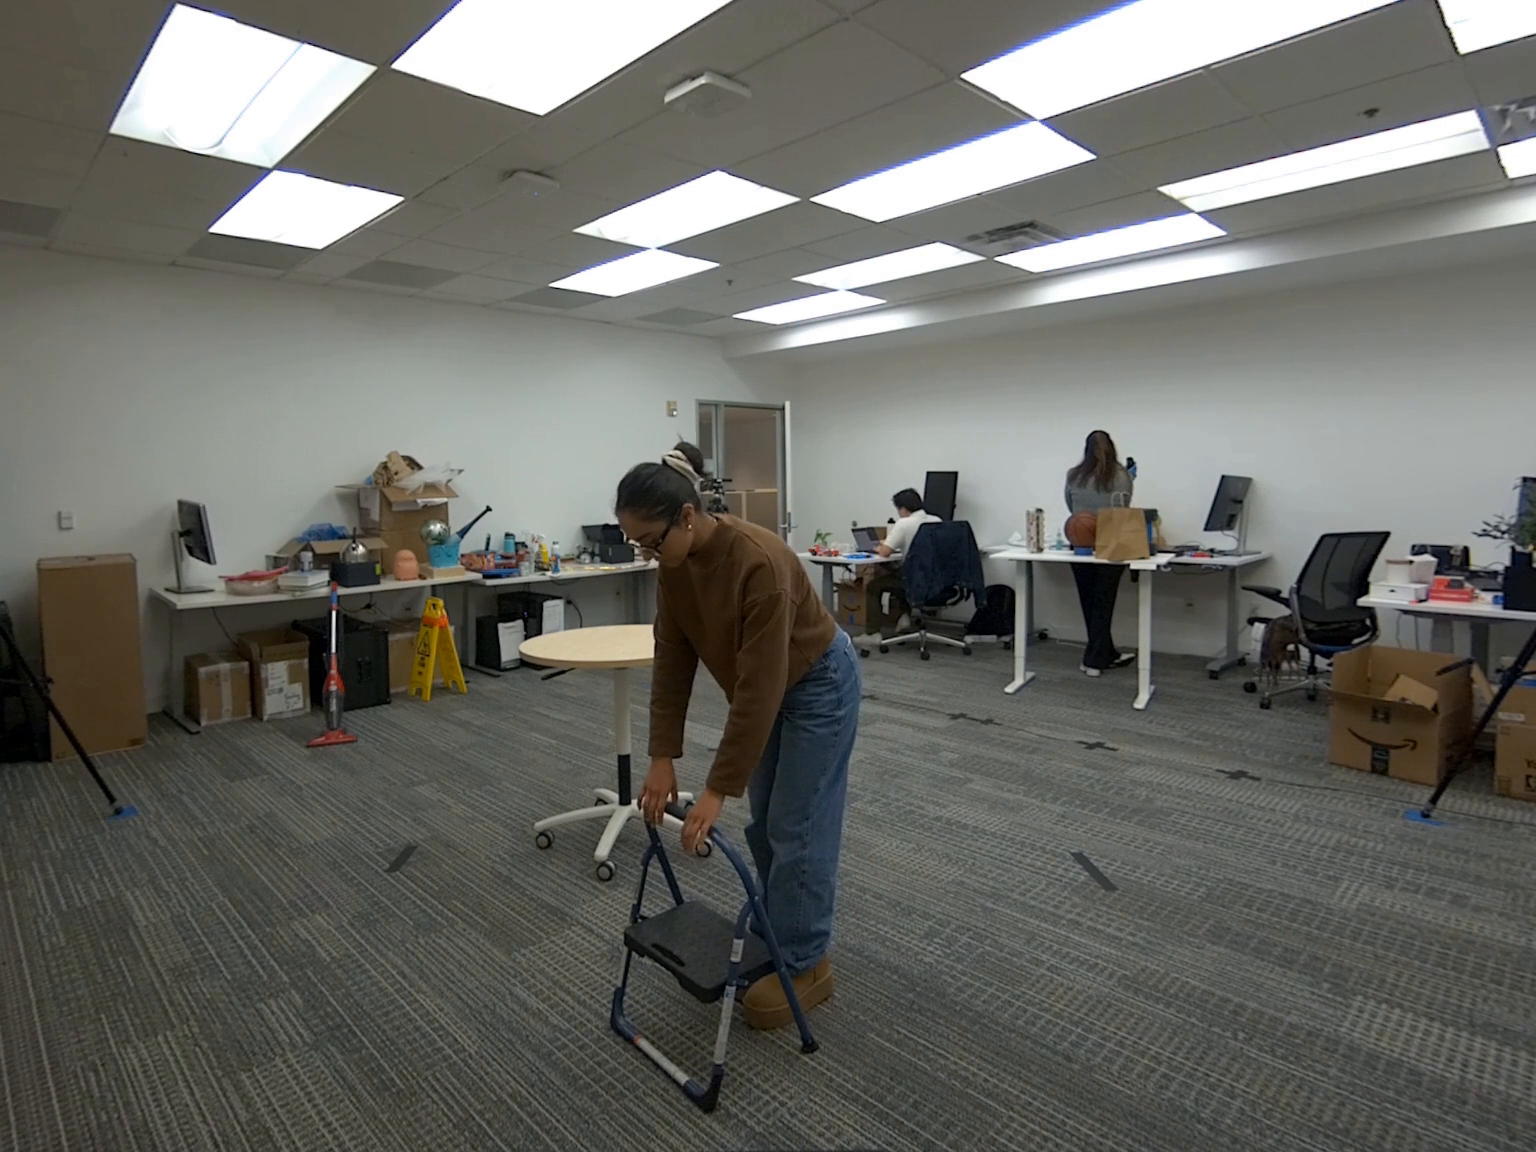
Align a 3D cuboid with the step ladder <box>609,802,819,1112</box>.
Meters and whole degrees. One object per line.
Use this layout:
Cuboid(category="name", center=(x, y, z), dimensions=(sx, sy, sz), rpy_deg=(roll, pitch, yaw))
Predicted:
Cuboid(category="step ladder", center=(-0.147, 0.866, 2.128), dimensions=(0.340, 0.604, 0.444), rpy_deg=(-4, 6, -42))
